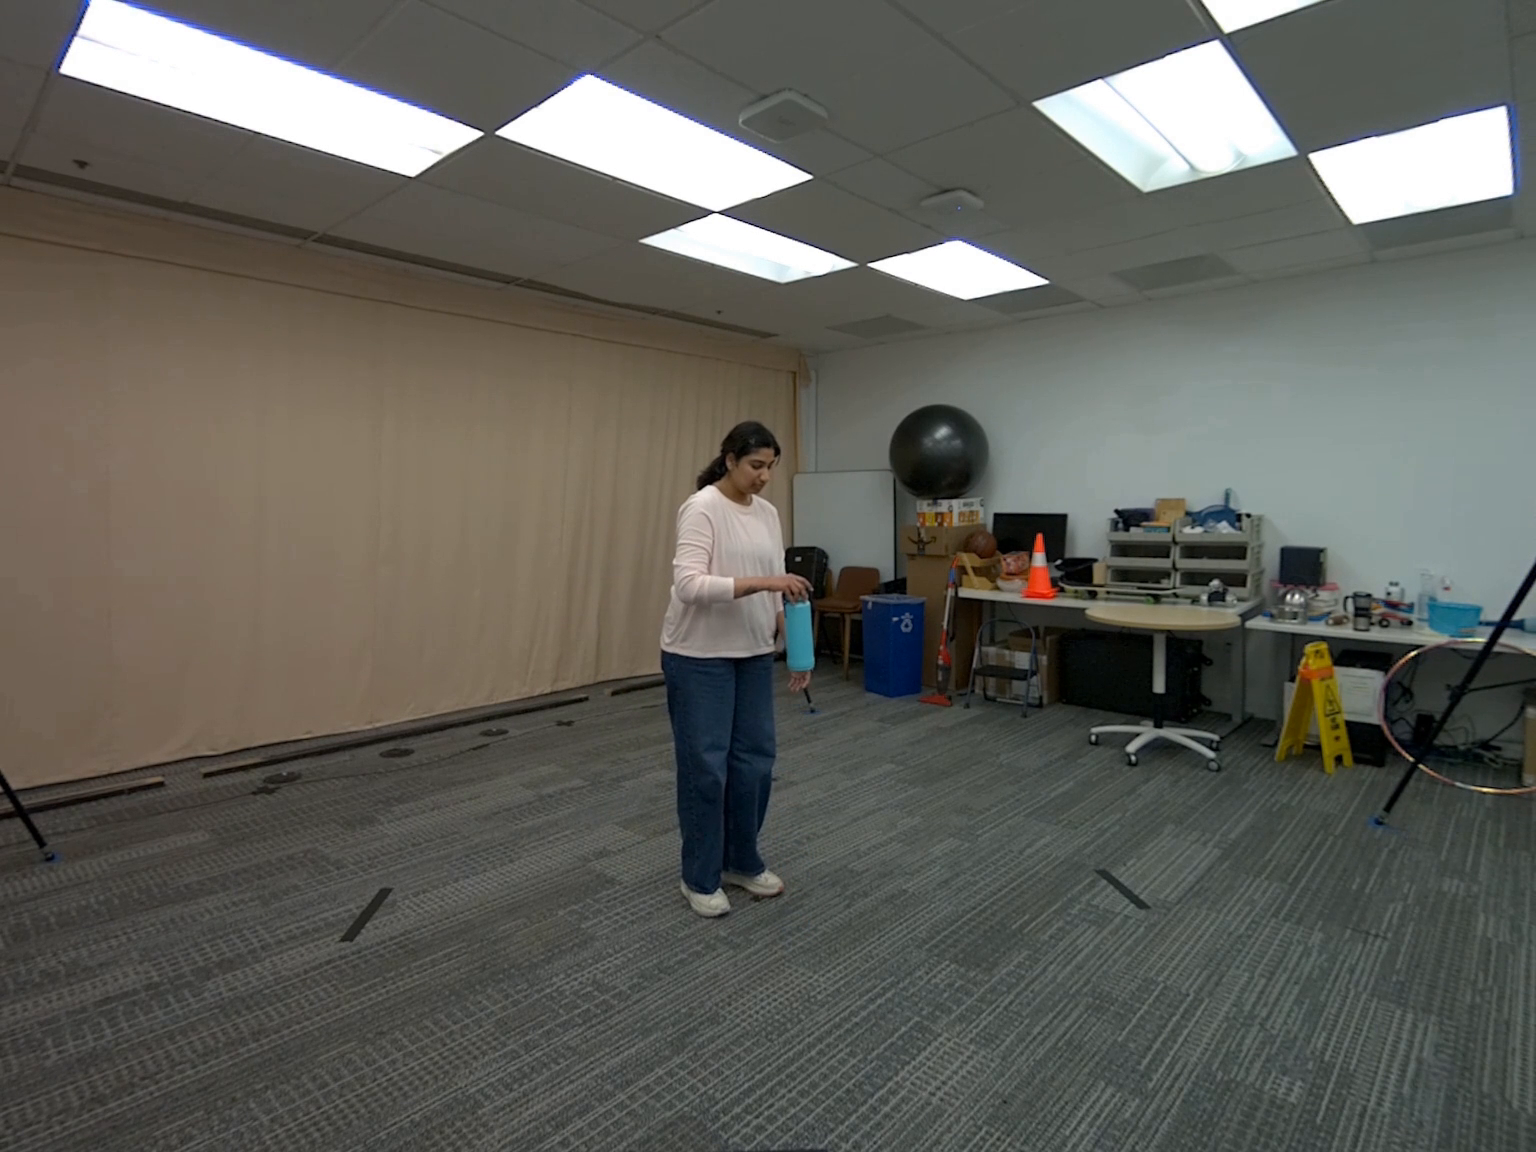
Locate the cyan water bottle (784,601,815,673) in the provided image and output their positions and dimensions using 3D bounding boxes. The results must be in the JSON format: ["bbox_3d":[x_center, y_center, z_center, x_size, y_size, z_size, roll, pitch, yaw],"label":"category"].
[{"bbox_3d":[0.099,0.172,2.787,0.092,0.282,0.093,-4,7,-1],"label":"cyan water bottle"}]
